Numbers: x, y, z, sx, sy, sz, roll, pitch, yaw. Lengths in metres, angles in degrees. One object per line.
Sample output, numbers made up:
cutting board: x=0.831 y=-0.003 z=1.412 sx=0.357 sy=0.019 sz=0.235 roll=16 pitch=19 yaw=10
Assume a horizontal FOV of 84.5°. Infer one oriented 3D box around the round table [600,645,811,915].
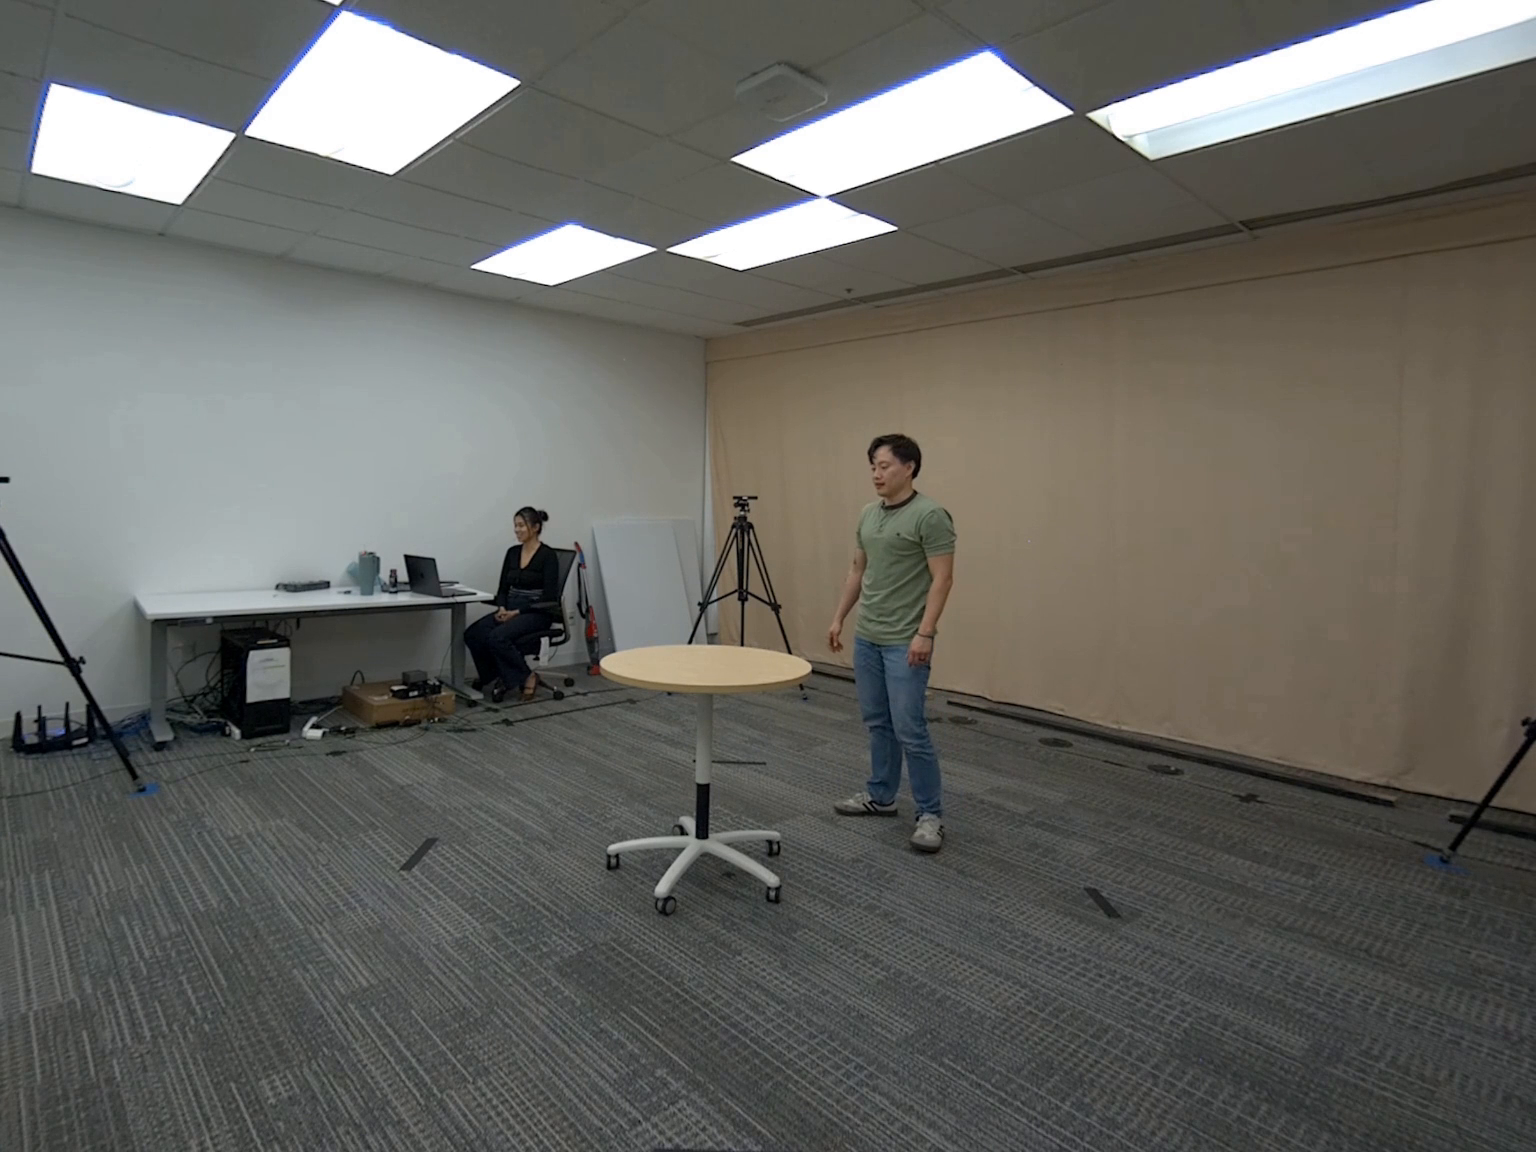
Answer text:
round table: x=-0.242 y=0.712 z=3.074 sx=0.763 sy=0.792 sz=0.766 roll=1 pitch=4 yaw=-1
